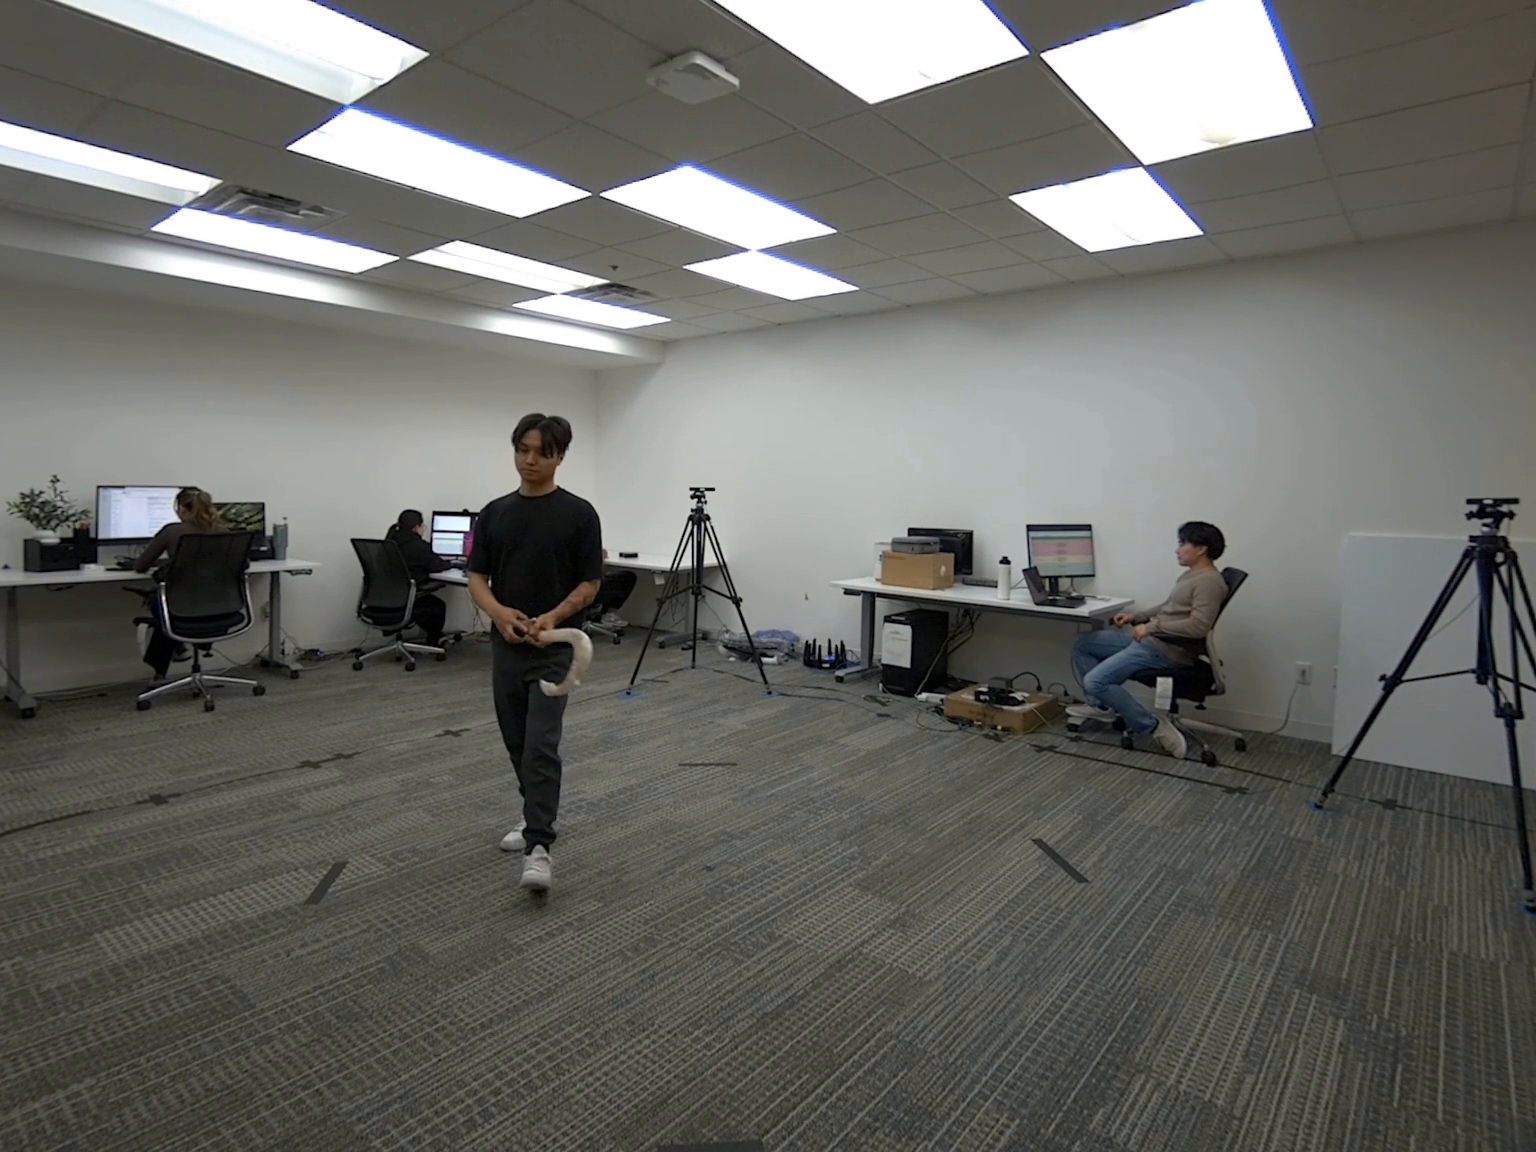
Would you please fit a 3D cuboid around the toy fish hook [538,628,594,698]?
[{"bbox_3d":[-0.762,0.265,2.811,0.525,0.226,0.046,10,-19,48],"label":"toy fish hook"}]
